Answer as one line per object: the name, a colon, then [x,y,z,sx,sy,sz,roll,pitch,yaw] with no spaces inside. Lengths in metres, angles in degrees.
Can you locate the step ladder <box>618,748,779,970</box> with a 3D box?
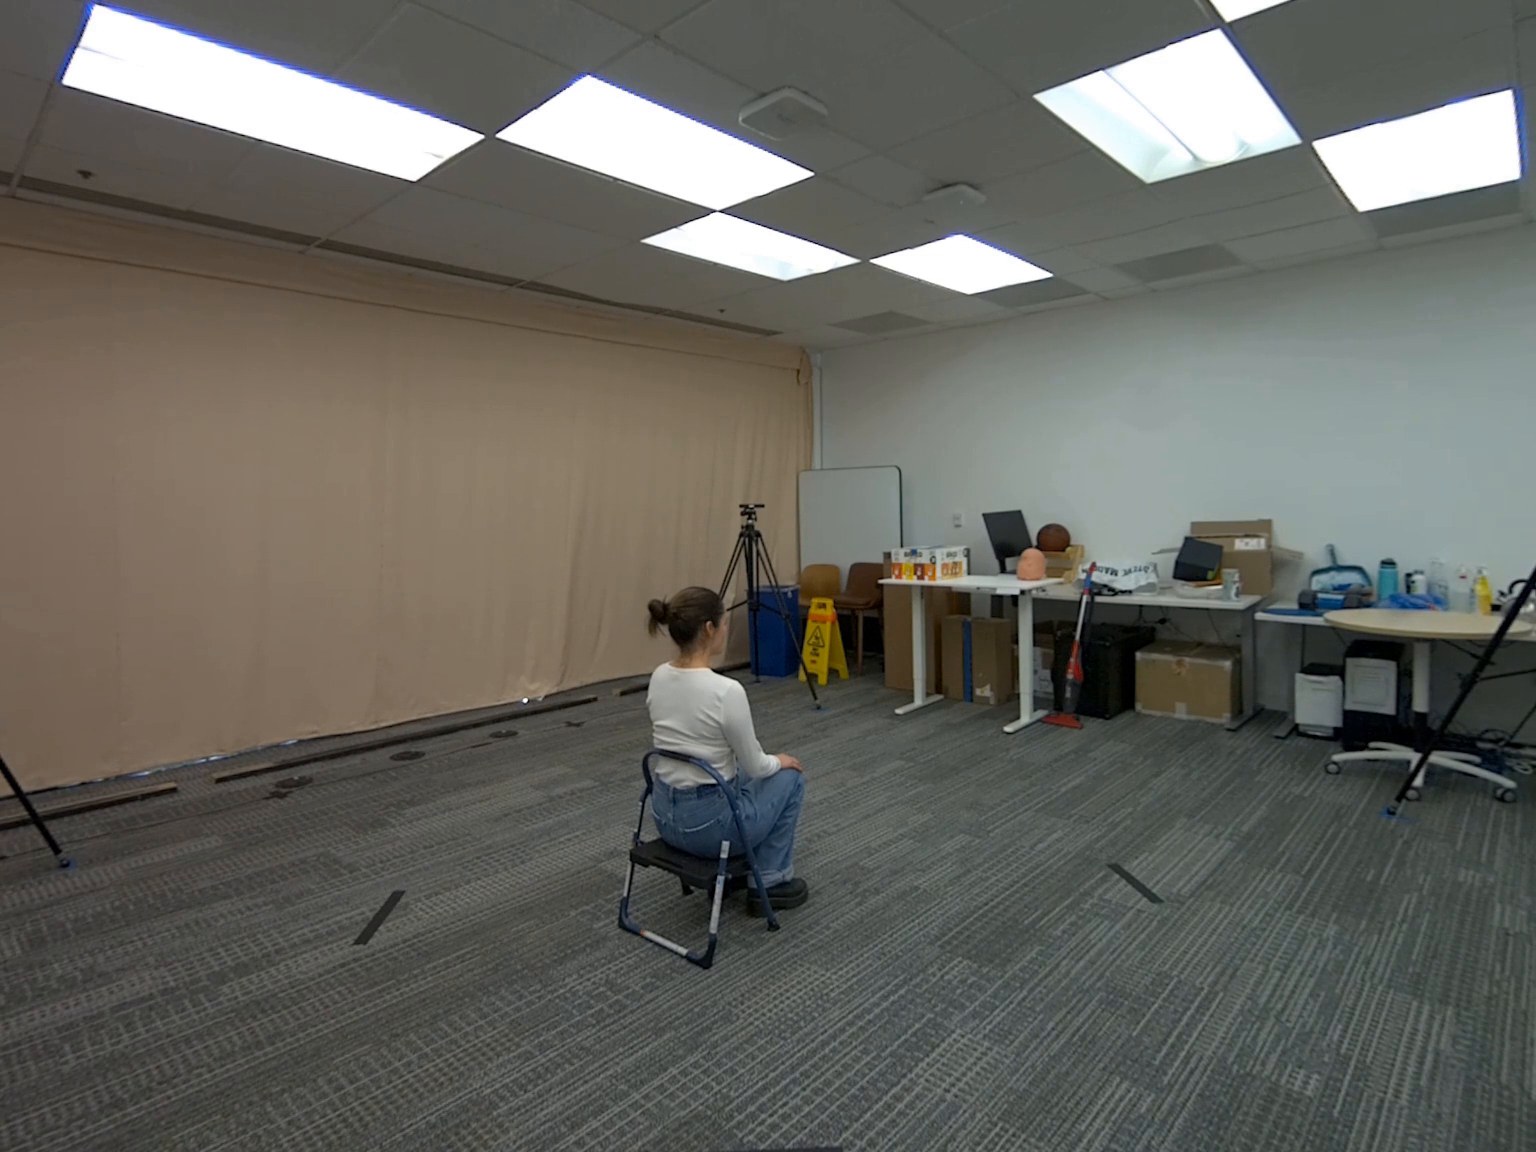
step ladder: [-0.241,0.858,2.767,0.445,0.605,0.339,1,4,40]
